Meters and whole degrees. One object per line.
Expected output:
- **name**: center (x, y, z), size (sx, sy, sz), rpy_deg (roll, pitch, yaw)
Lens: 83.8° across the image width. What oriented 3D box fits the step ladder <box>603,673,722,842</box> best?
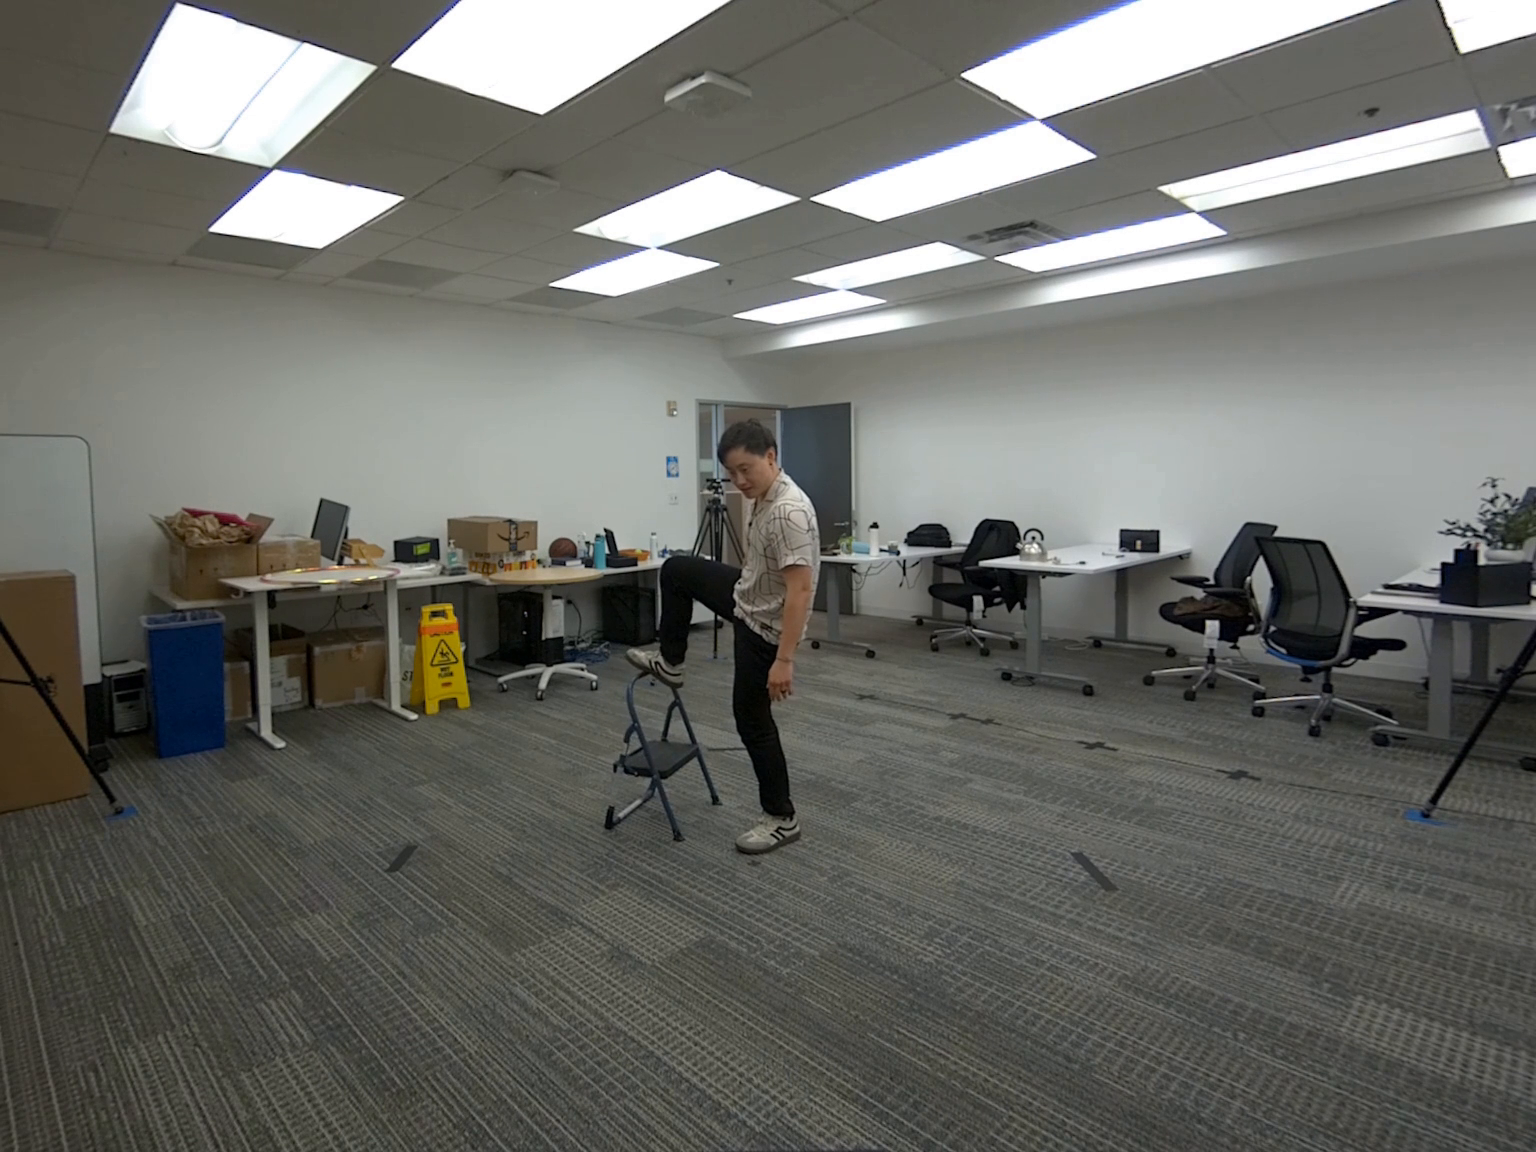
- **step ladder**: center (-0.447, 0.694, 3.549), size (0.356, 0.604, 0.424), rpy_deg (-1, 4, 19)
